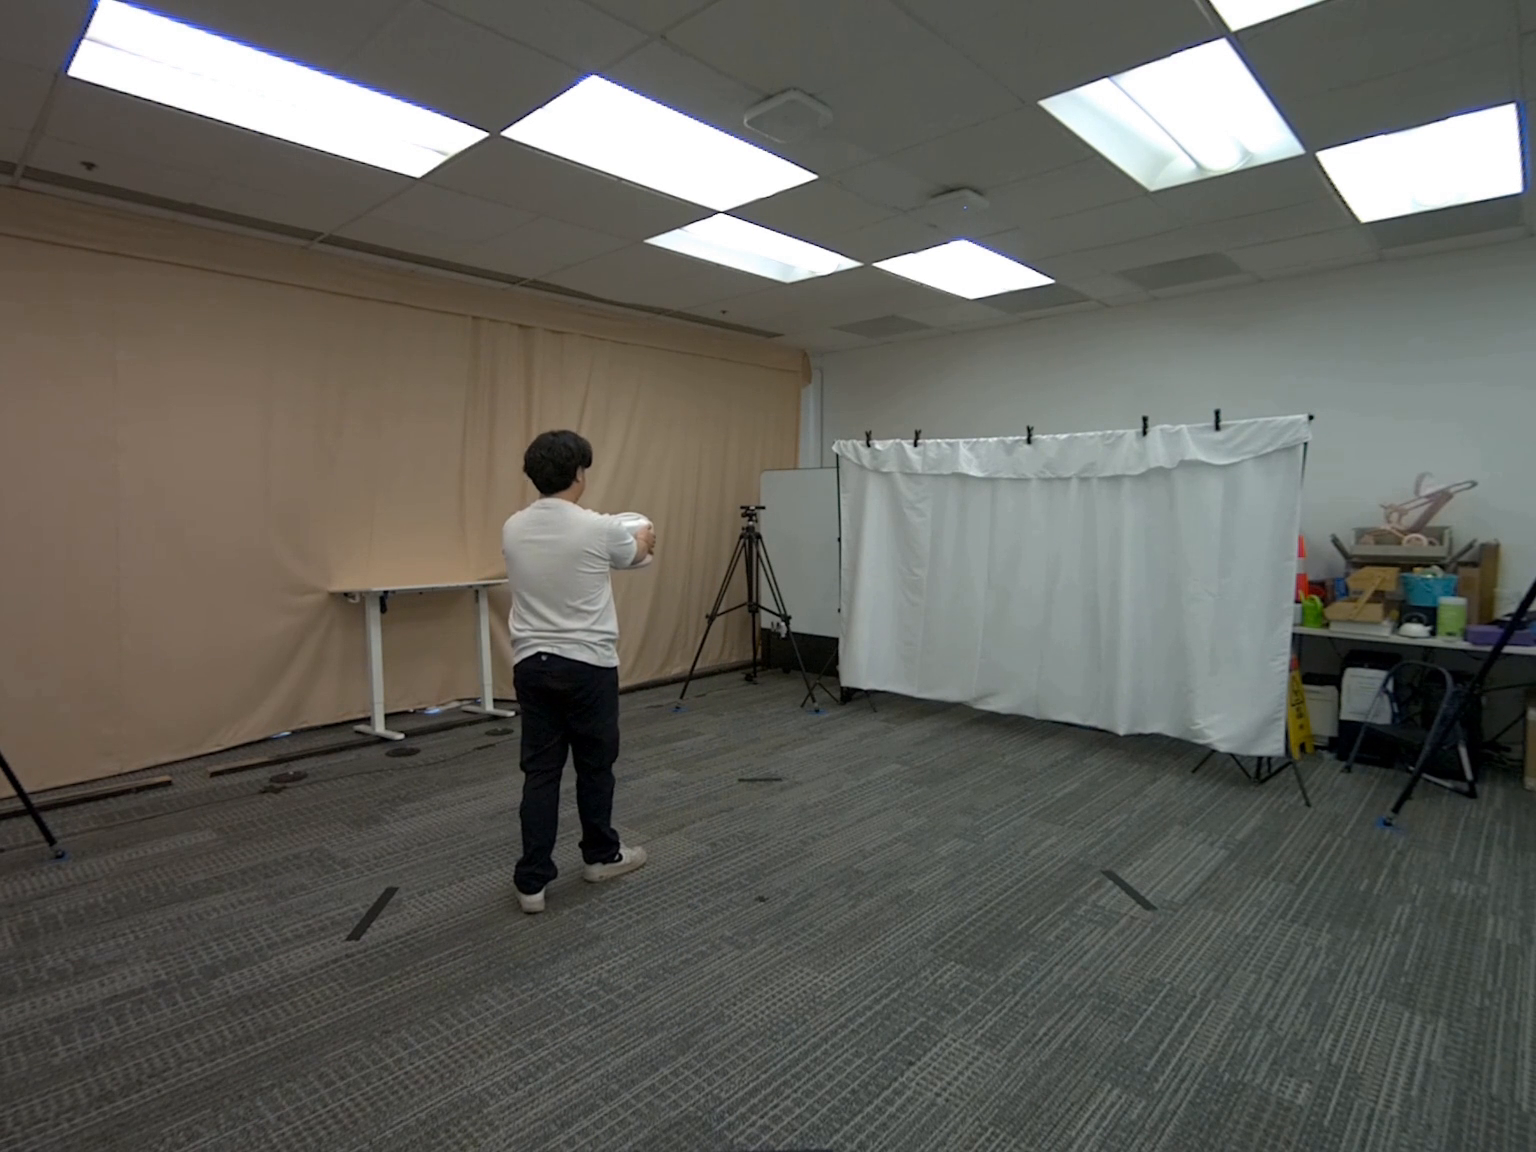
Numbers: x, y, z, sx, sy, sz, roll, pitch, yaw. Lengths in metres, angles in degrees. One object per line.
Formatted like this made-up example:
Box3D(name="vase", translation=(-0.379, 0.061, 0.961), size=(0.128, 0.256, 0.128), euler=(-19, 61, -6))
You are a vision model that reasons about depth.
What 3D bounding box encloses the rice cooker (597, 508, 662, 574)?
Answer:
Box3D(name="rice cooker", translation=(-0.591, -0.155, 3.592), size=(0.217, 0.231, 0.222), euler=(-5, 11, -17))
